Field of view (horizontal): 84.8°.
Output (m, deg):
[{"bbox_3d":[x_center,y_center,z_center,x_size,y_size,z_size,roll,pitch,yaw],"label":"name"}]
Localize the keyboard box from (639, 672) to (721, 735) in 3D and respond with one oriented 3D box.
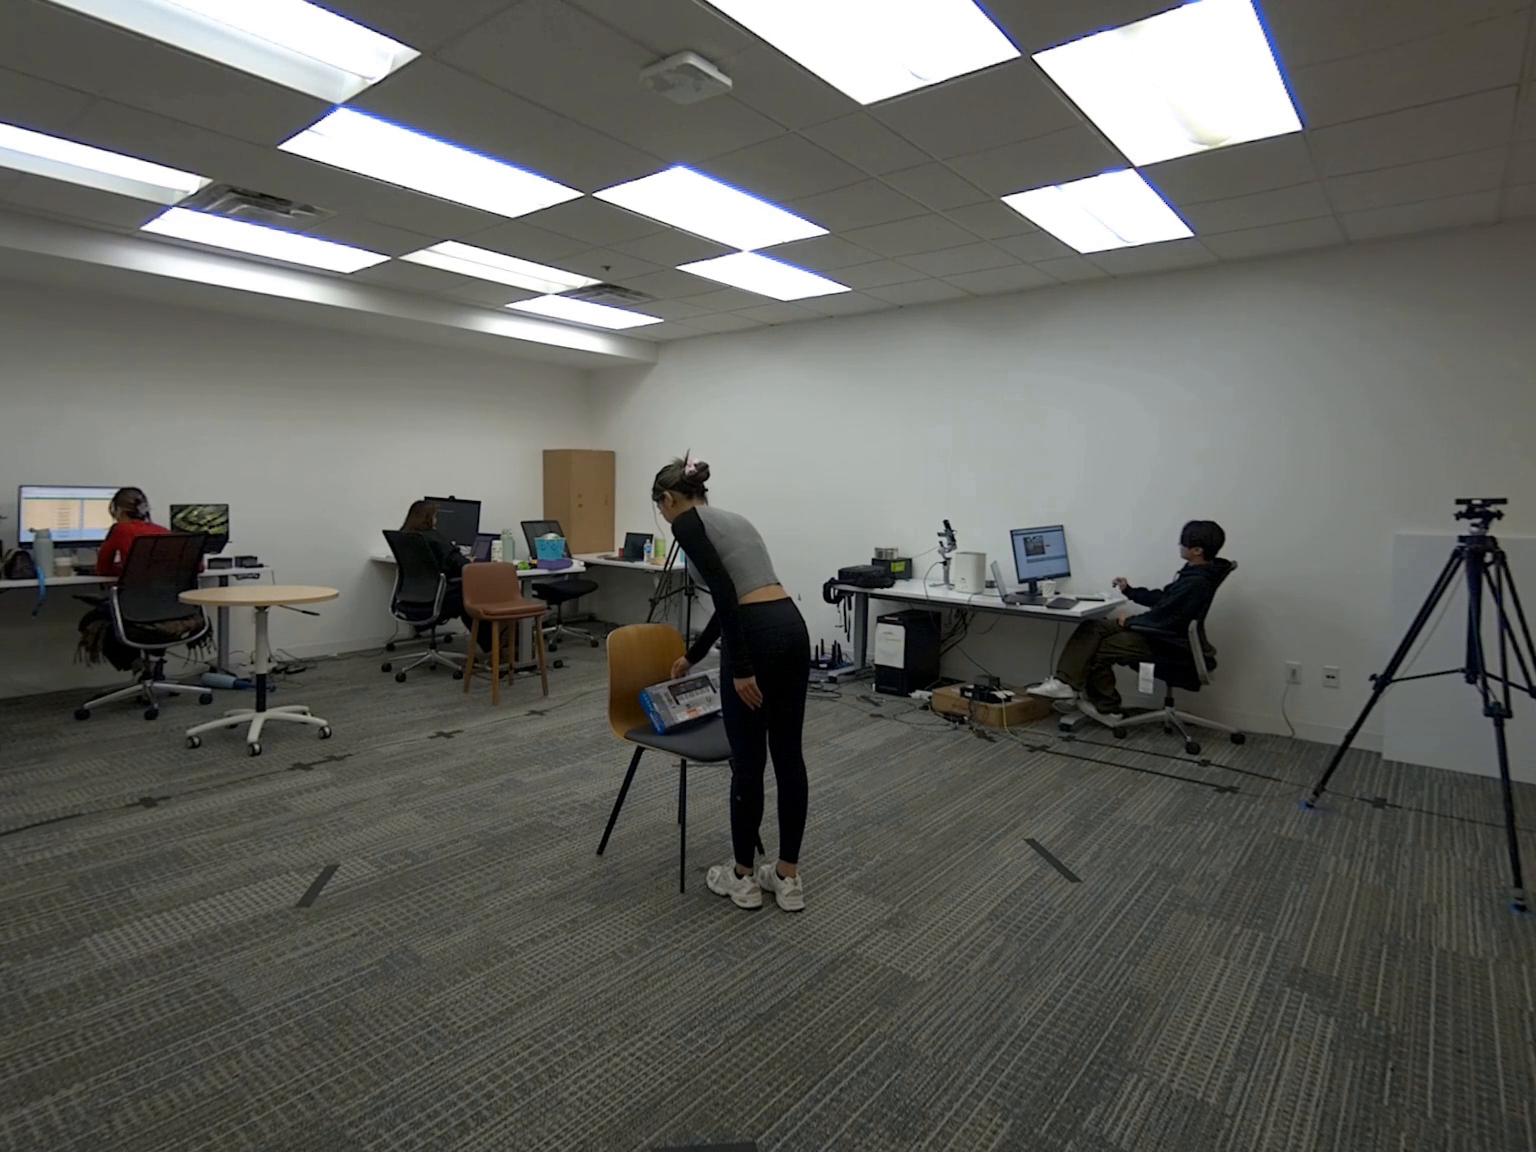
[{"bbox_3d":[-0.306,0.482,3.327,0.425,0.181,0.059,-10,-31,-48],"label":"keyboard box"}]
